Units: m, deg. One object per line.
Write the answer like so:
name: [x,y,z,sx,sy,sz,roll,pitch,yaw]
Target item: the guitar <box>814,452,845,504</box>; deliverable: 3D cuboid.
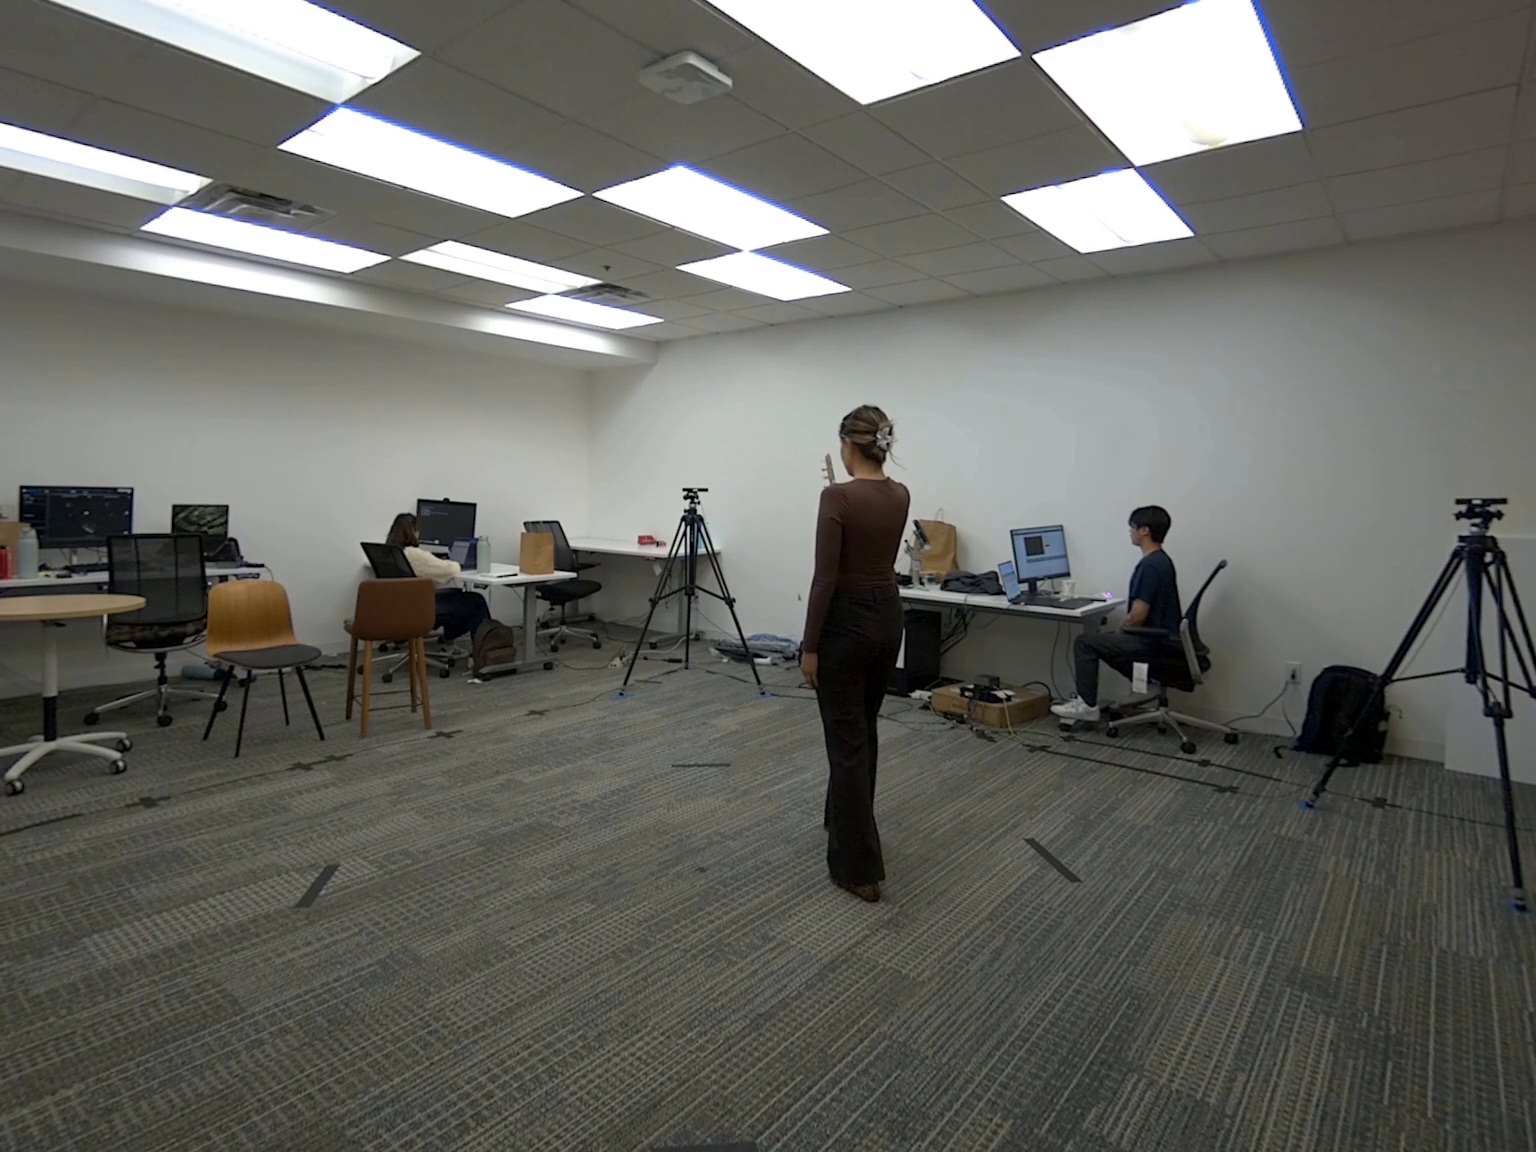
guitar: [0.295,-0.290,3.779,0.072,0.505,0.186,-11,-16,22]
